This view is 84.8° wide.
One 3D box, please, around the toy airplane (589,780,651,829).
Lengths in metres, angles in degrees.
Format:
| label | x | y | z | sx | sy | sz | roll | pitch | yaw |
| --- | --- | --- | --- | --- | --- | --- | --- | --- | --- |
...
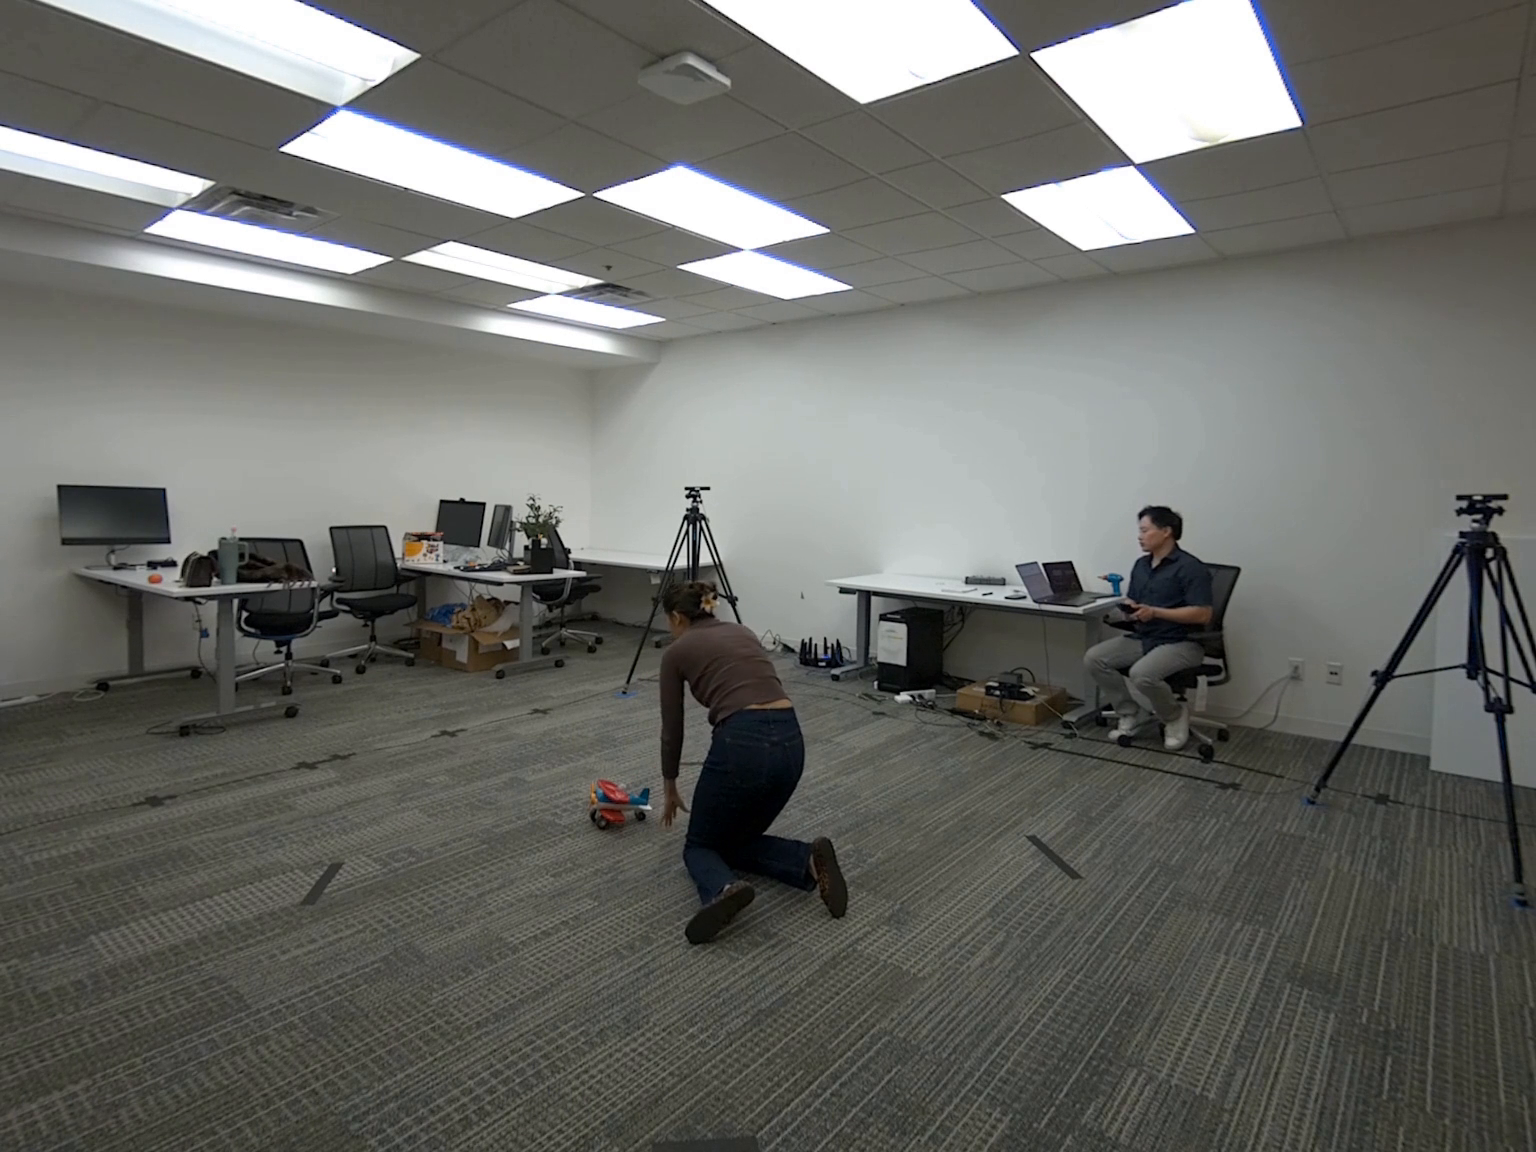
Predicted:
| label | x | y | z | sx | sy | sz | roll | pitch | yaw |
| --- | --- | --- | --- | --- | --- | --- | --- | --- | --- |
| toy airplane | -0.638 | 0.942 | 3.540 | 0.259 | 0.156 | 0.252 | 4 | 7 | 36 |
